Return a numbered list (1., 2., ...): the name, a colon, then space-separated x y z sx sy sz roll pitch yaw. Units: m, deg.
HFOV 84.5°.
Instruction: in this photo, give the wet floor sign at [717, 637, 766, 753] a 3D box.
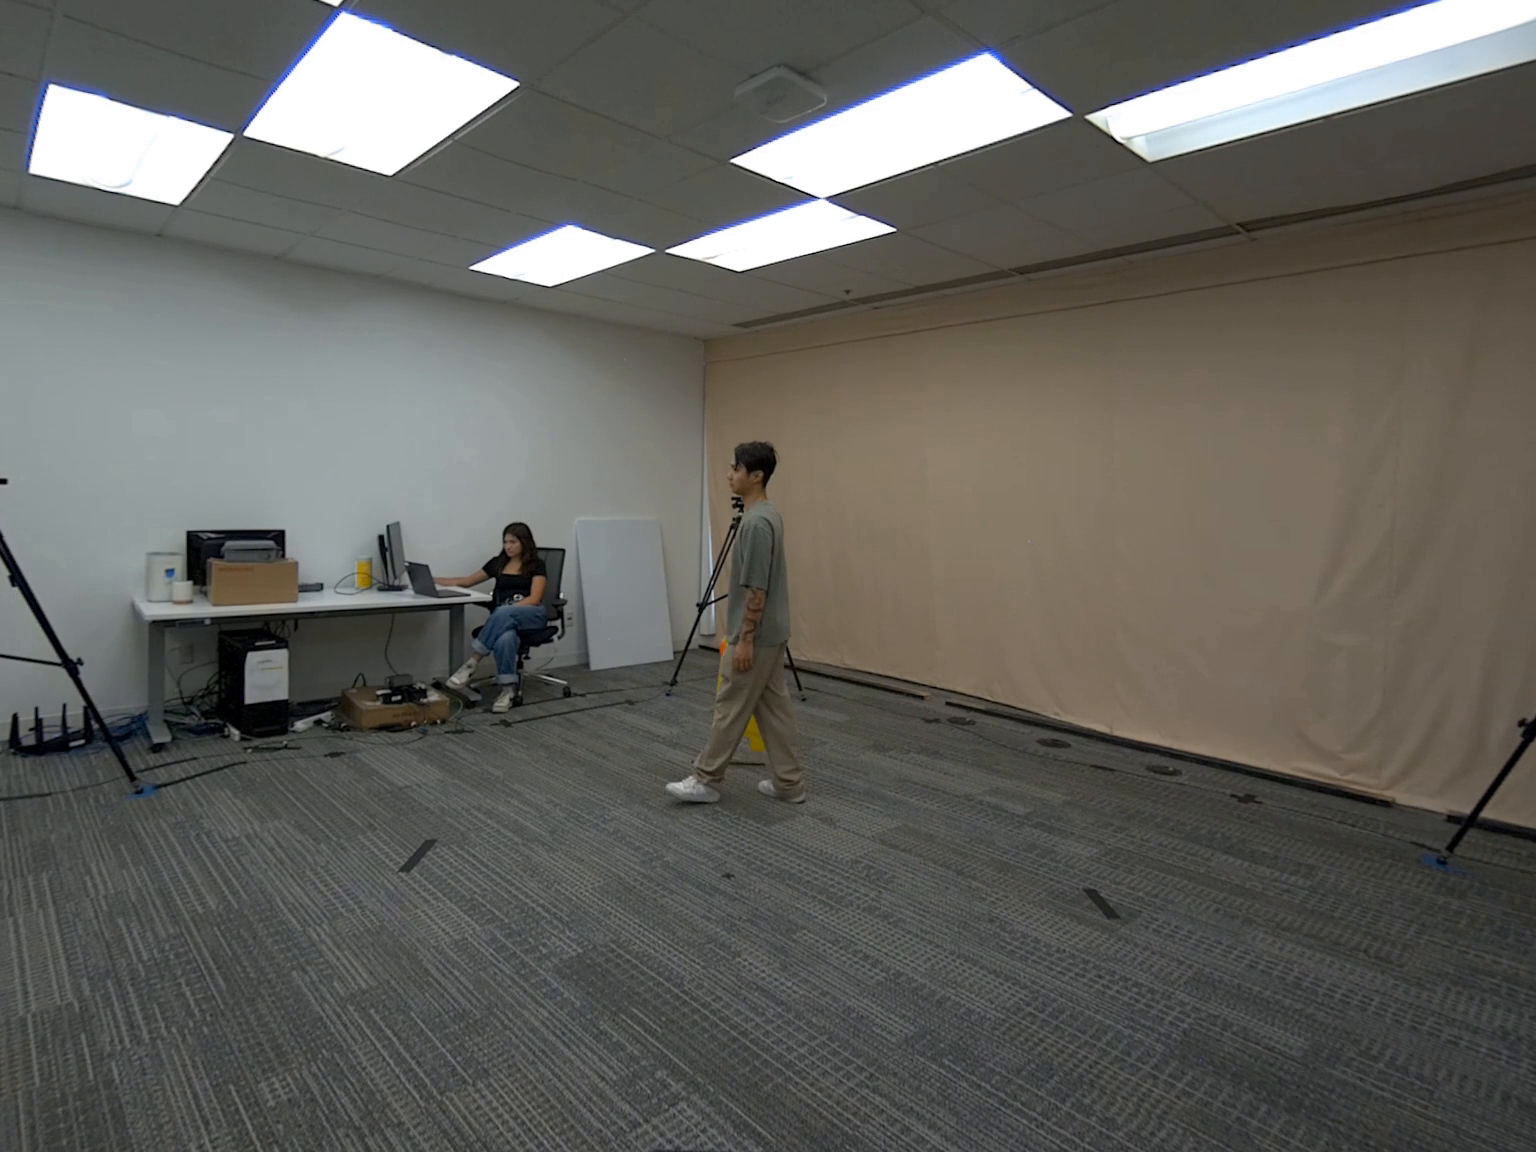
1. wet floor sign: -0.133 0.551 4.319 0.283 0.638 0.292 5 20 3
